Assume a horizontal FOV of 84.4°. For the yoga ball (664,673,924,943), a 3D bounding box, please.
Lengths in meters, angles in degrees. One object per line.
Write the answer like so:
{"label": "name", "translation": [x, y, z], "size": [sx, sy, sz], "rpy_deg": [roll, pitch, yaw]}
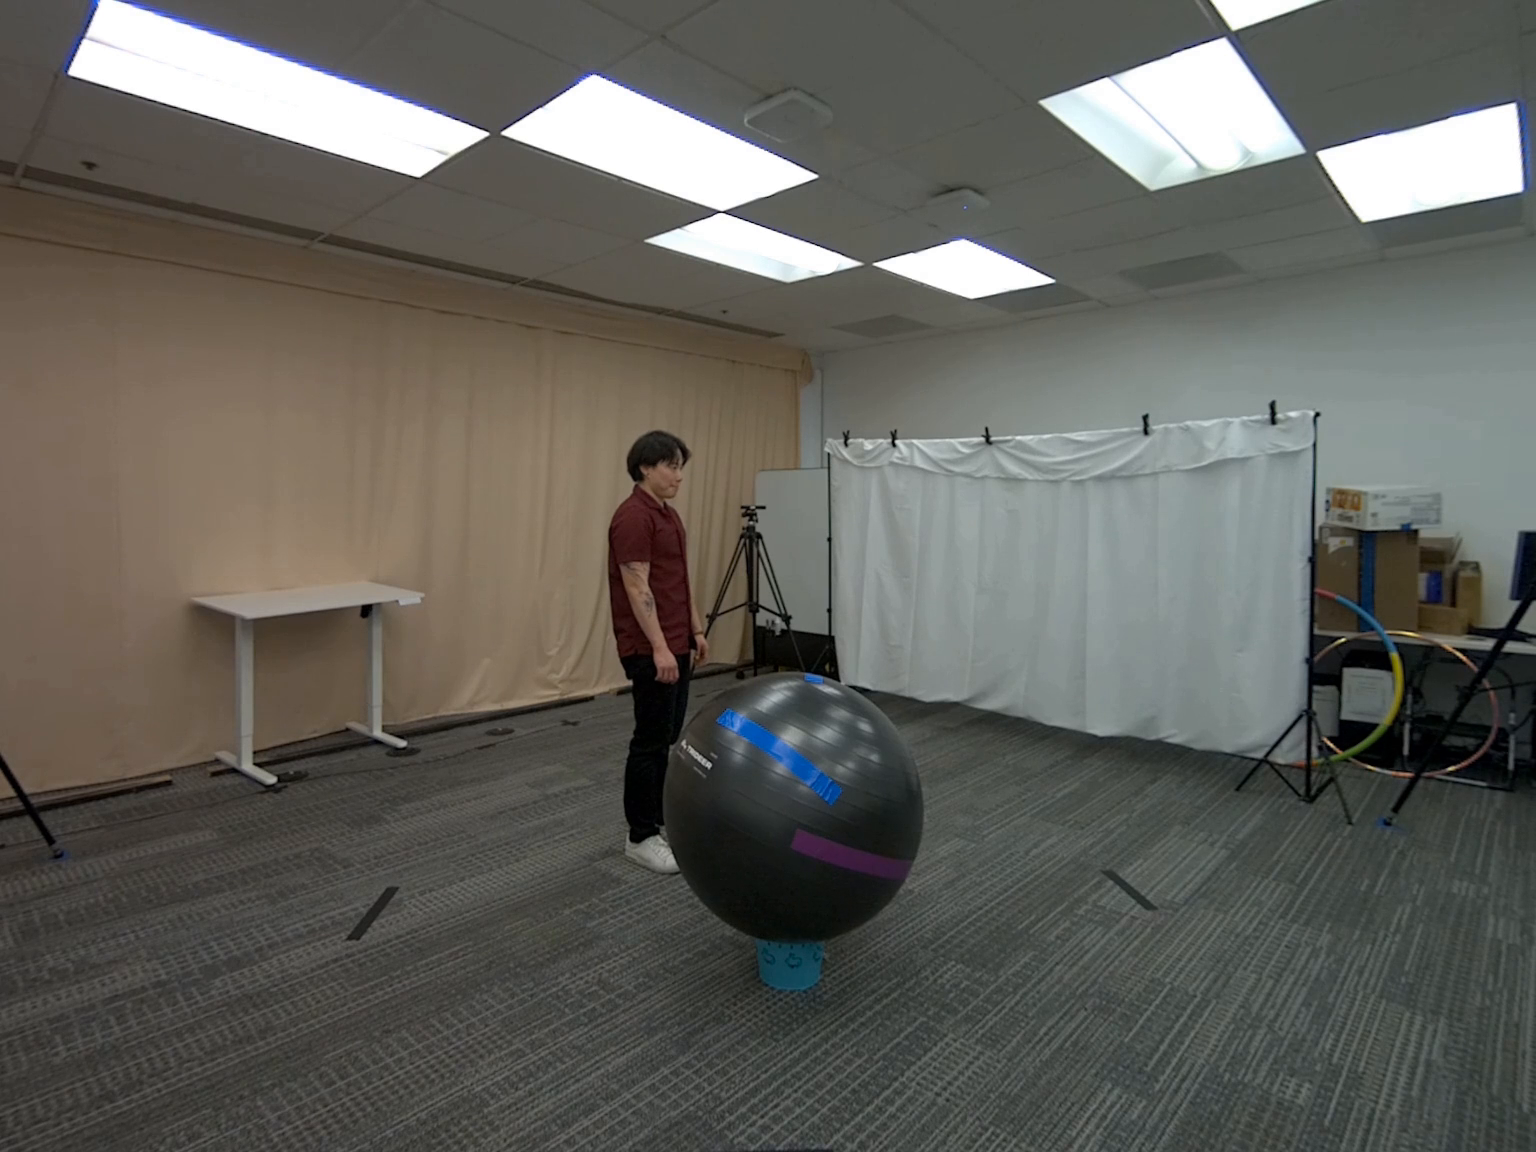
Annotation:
{"label": "yoga ball", "translation": [0.077, 0.678, 2.485], "size": [0.757, 0.756, 0.760], "rpy_deg": [0, 4, -2]}
